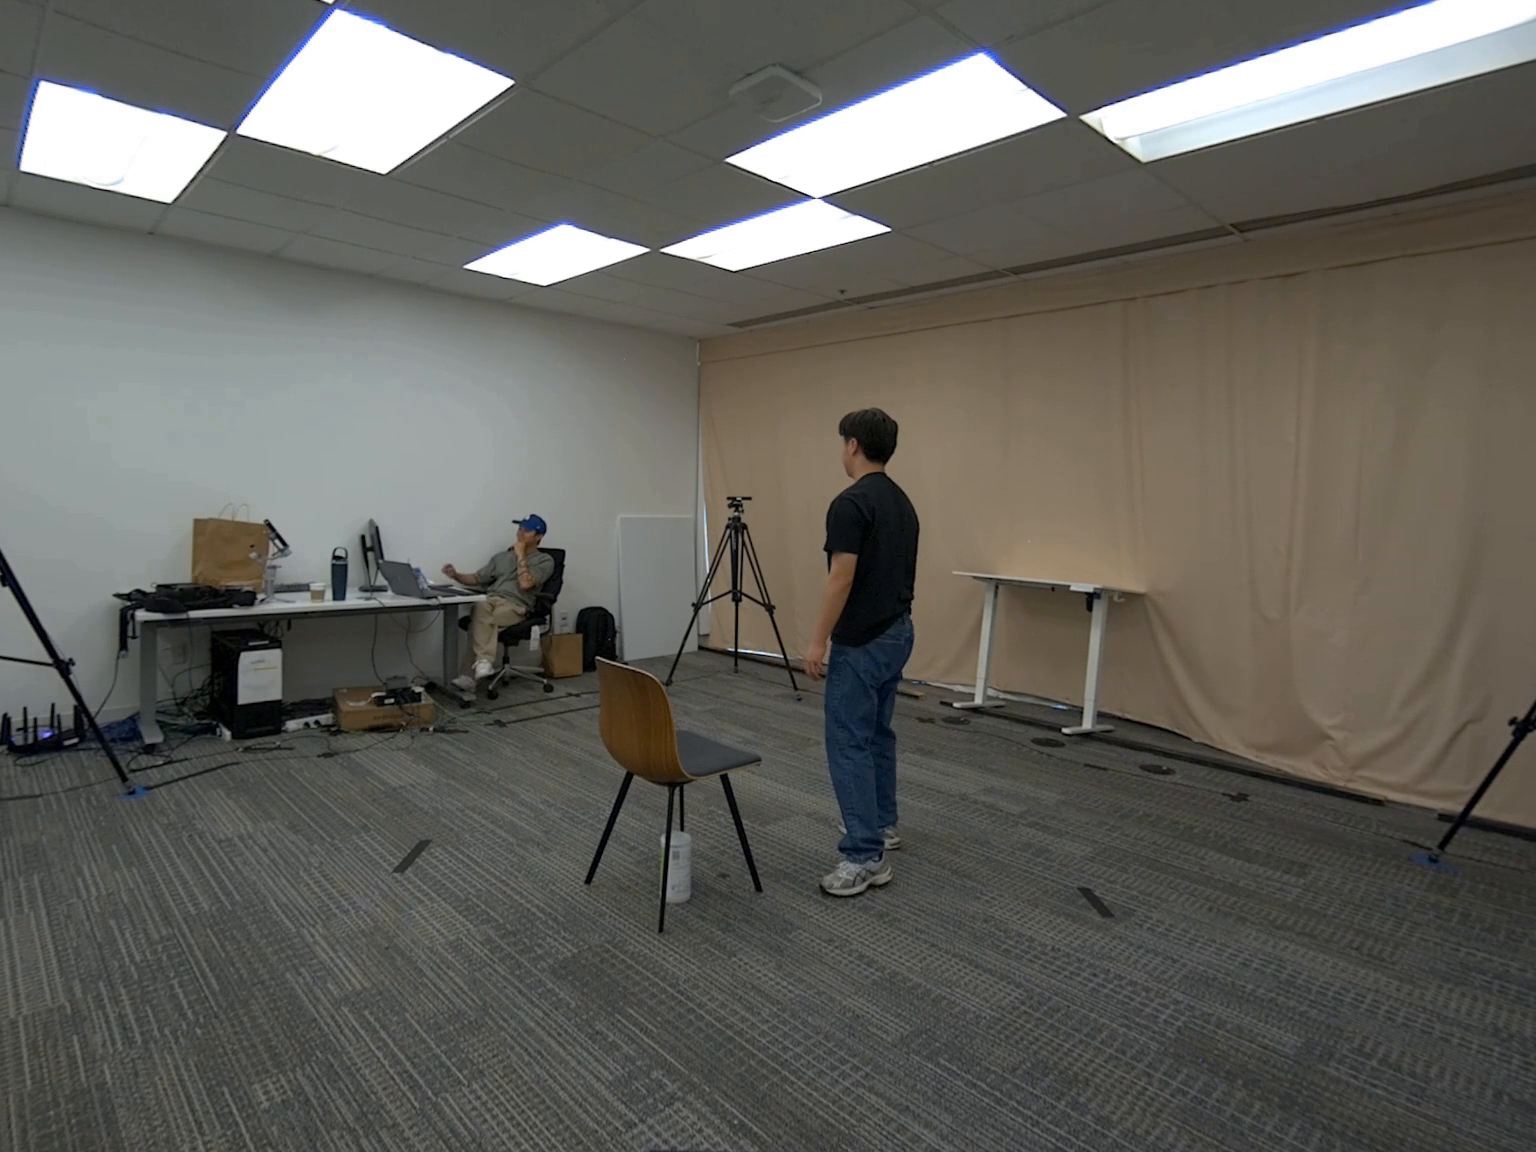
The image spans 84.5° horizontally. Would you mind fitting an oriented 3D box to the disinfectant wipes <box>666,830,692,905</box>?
[{"bbox_3d":[-0.321,1.017,2.910,0.118,0.217,0.118,2,4,-2],"label":"disinfectant wipes"}]
